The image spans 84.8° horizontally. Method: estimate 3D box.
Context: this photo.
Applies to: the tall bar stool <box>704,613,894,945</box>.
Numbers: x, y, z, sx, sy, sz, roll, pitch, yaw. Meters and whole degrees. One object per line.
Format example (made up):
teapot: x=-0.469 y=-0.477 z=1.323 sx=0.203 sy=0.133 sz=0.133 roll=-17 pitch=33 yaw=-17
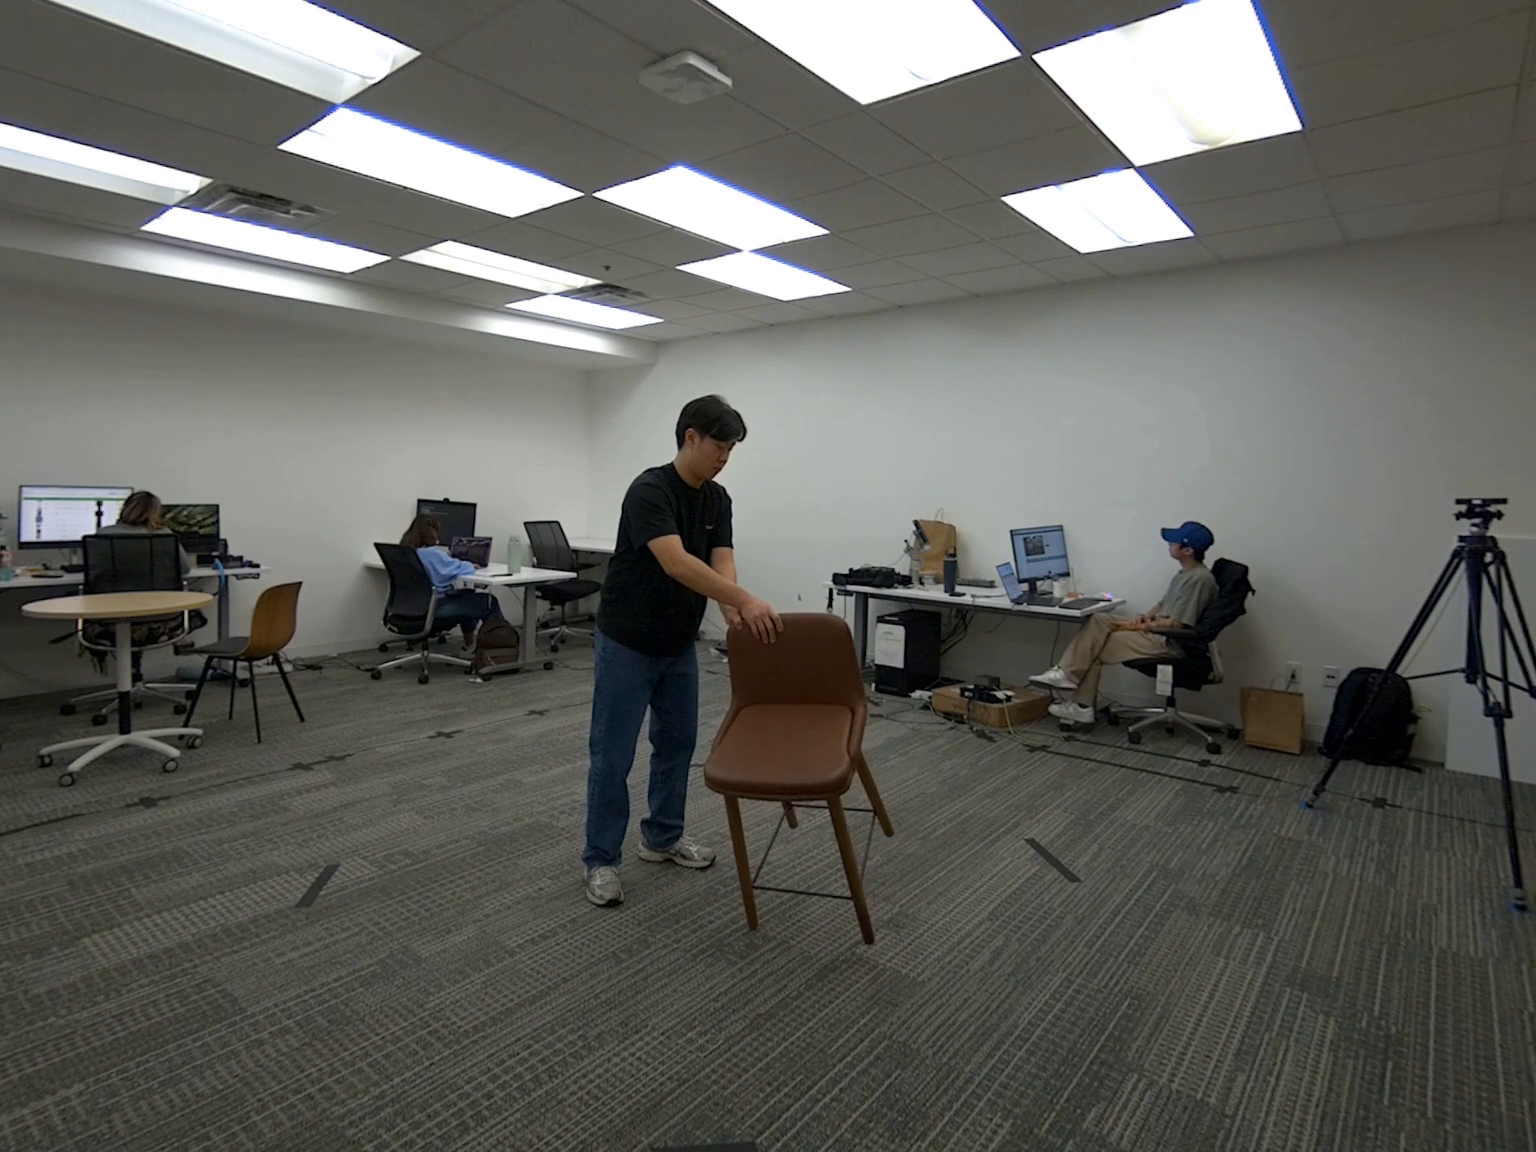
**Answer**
tall bar stool: x=0.090 y=0.615 z=2.624 sx=0.467 sy=0.868 sz=0.468 roll=-3 pitch=25 yaw=24
